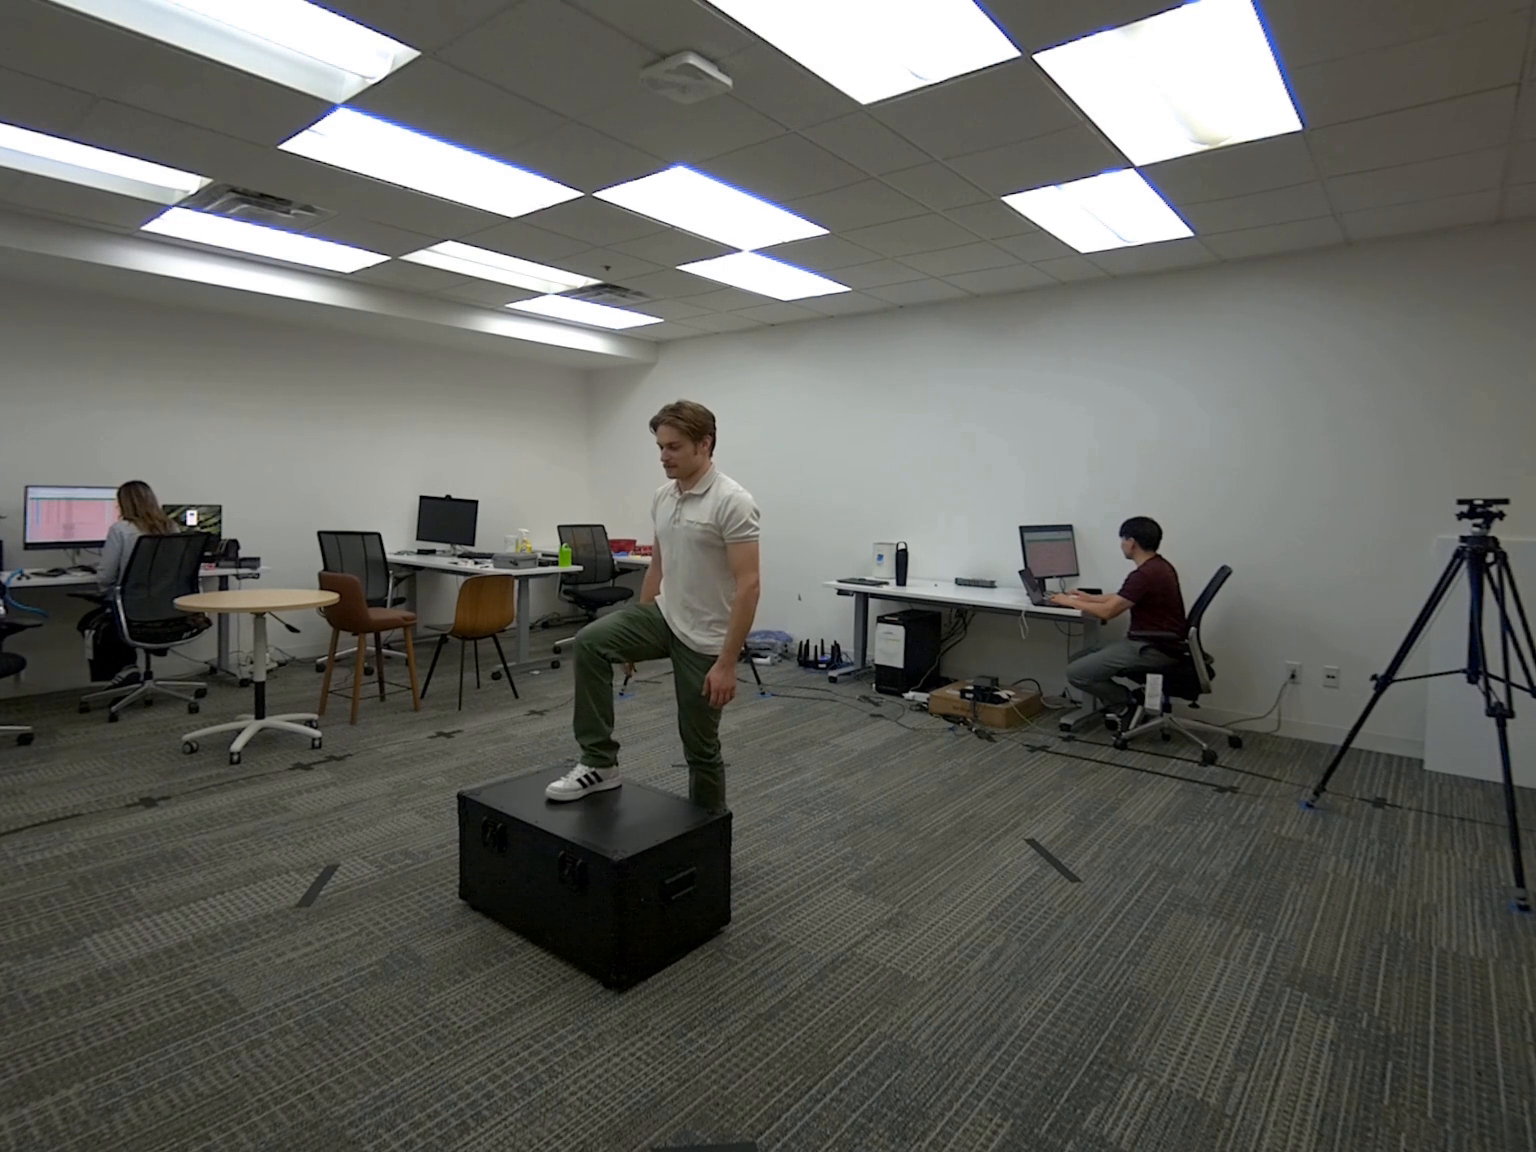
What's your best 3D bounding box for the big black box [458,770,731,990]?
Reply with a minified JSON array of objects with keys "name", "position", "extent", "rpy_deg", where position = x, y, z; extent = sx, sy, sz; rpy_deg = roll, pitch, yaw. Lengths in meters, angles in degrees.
[{"name":"big black box","position":[-0.601,0.902,2.763],"extent":[0.898,0.383,0.508],"rpy_deg":[5,7,39]}]
